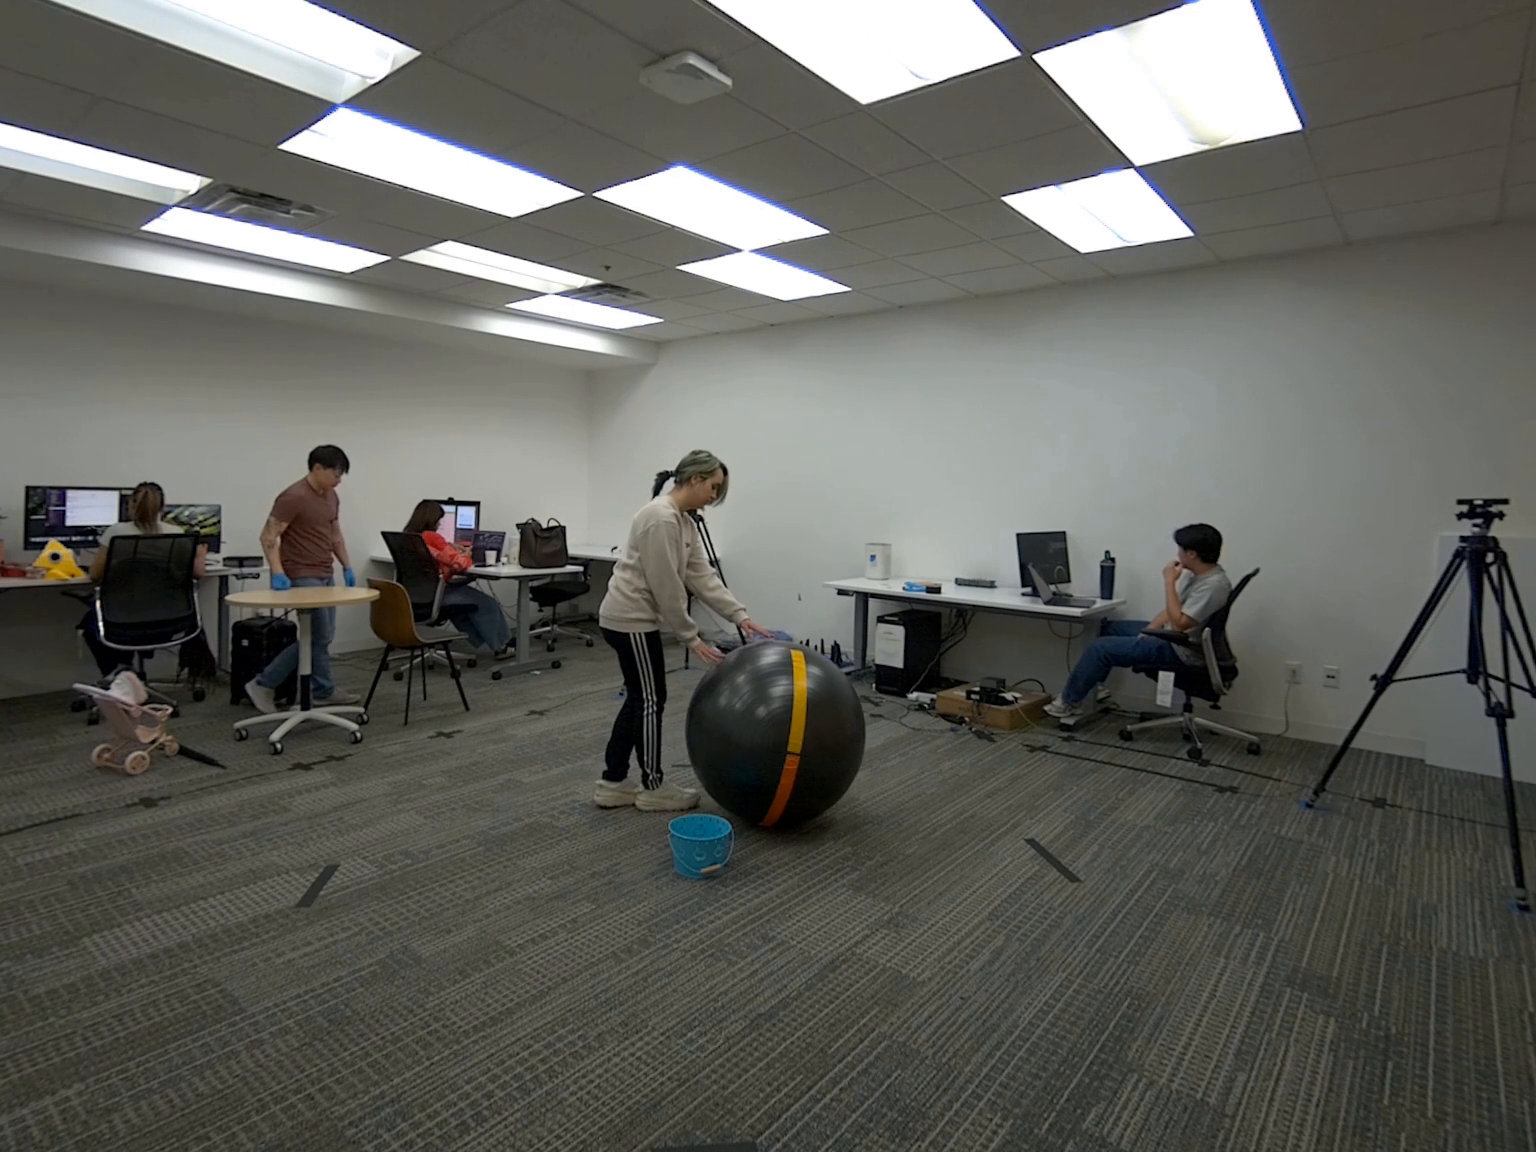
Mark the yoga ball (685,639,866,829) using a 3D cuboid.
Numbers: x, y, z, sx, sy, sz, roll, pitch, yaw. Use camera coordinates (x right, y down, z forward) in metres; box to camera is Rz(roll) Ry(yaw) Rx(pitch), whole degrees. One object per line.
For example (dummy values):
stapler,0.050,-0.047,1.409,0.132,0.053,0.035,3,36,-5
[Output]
yoga ball,0.025,0.657,3.589,0.757,0.755,0.762,1,4,-2
